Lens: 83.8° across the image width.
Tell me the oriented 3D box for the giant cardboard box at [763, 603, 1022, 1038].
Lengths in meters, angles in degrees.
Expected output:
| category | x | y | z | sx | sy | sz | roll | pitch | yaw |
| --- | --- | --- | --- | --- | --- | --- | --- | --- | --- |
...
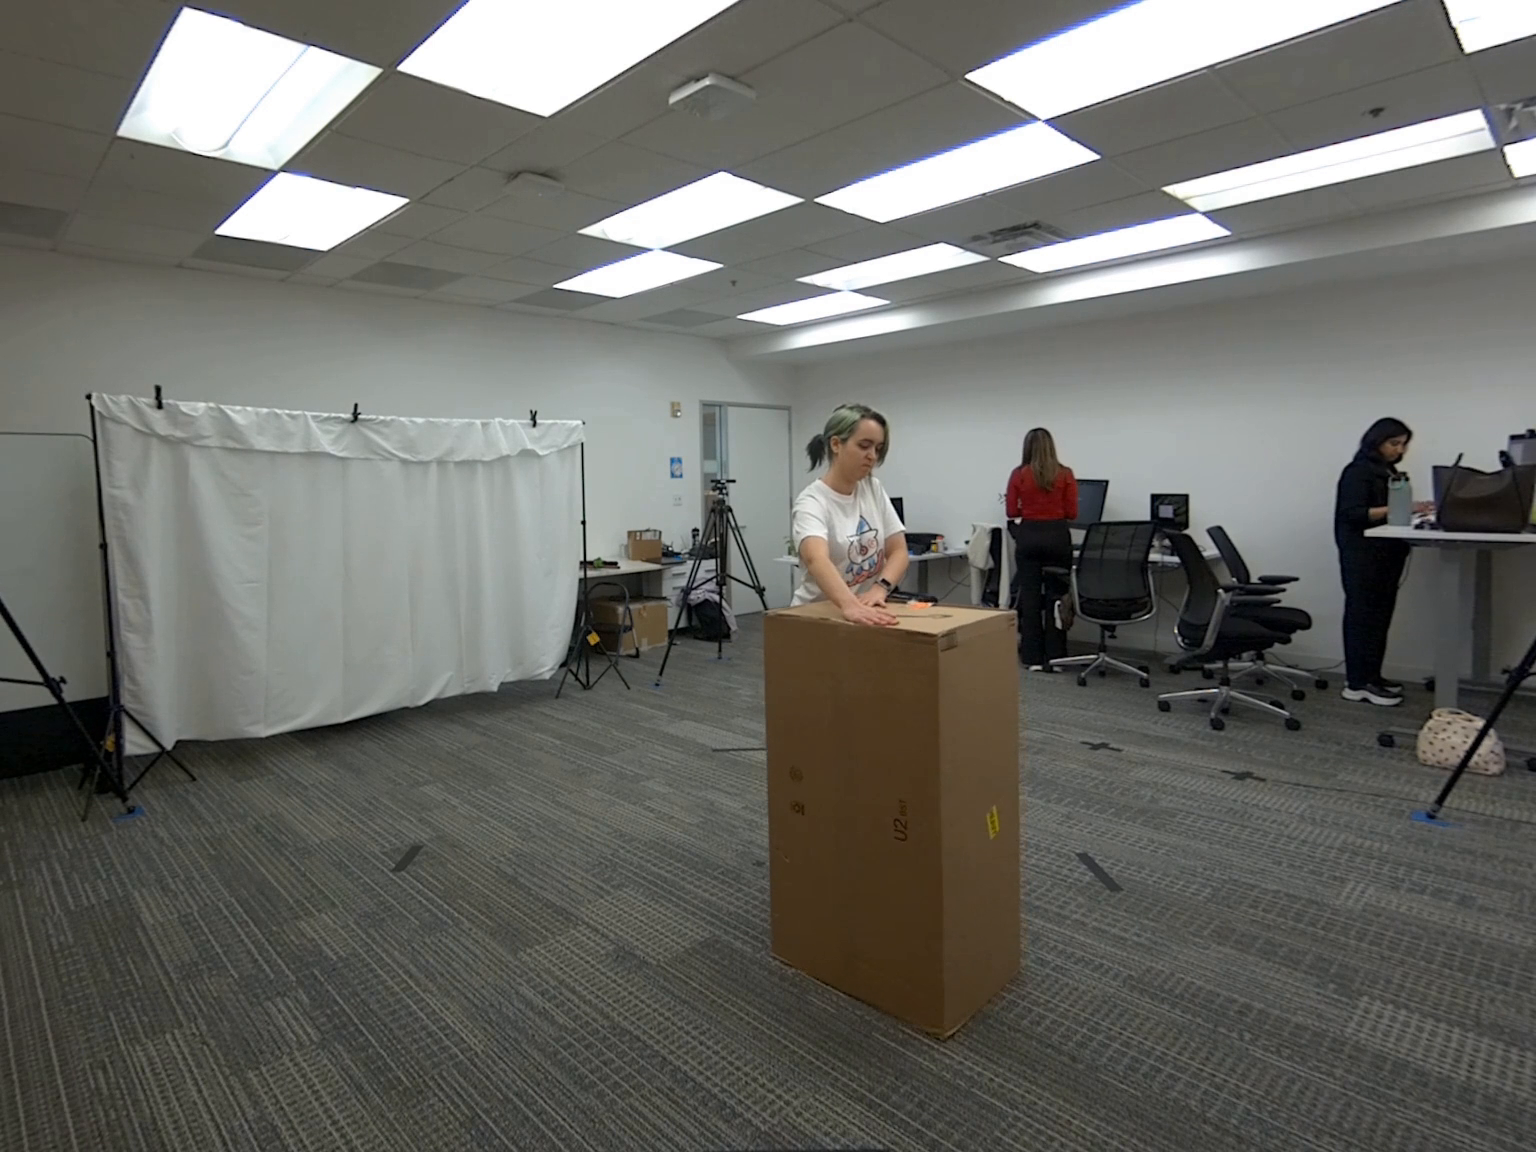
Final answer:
| category | x | y | z | sx | sy | sz | roll | pitch | yaw |
| --- | --- | --- | --- | --- | --- | --- | --- | --- | --- |
| giant cardboard box | 0.354 | 0.616 | 2.425 | 0.601 | 1.023 | 0.435 | 2 | 5 | 42 |
